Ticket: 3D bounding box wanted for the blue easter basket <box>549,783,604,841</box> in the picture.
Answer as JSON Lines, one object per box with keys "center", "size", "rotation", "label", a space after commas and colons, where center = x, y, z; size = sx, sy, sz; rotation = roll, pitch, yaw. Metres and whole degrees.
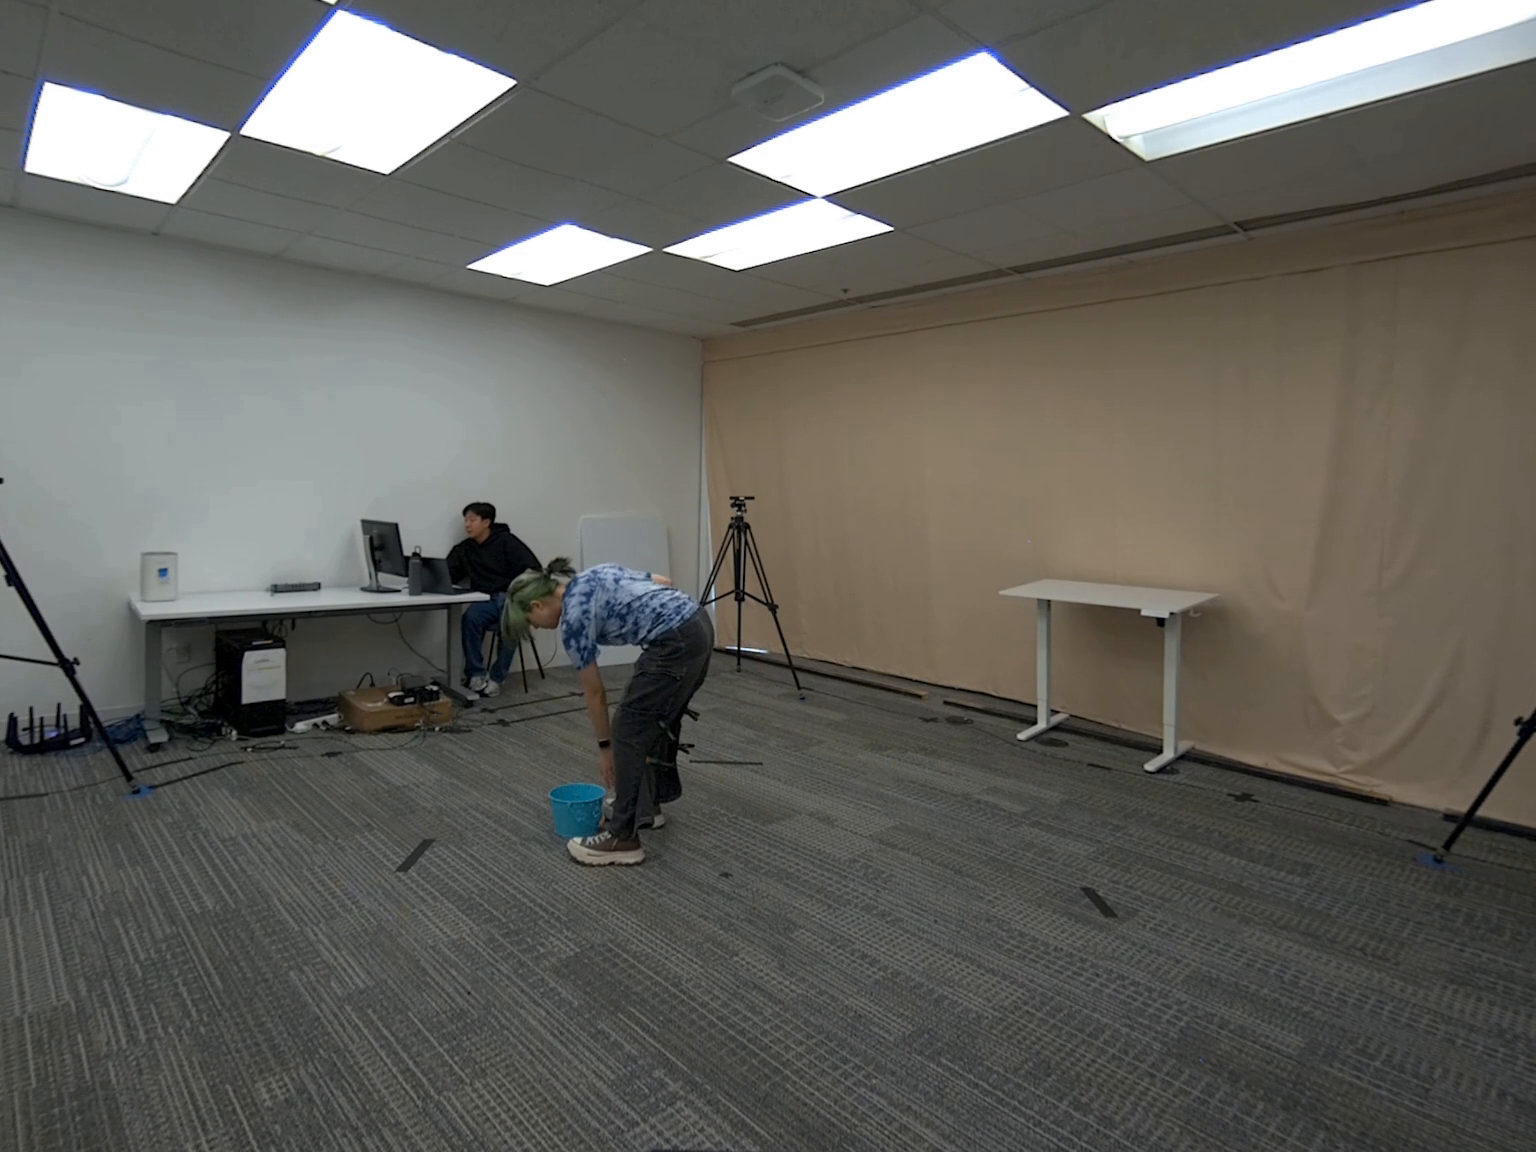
{"center": [-0.803, 0.978, 3.496], "size": [0.243, 0.155, 0.244], "rotation": [1, 5, -1], "label": "blue easter basket"}
